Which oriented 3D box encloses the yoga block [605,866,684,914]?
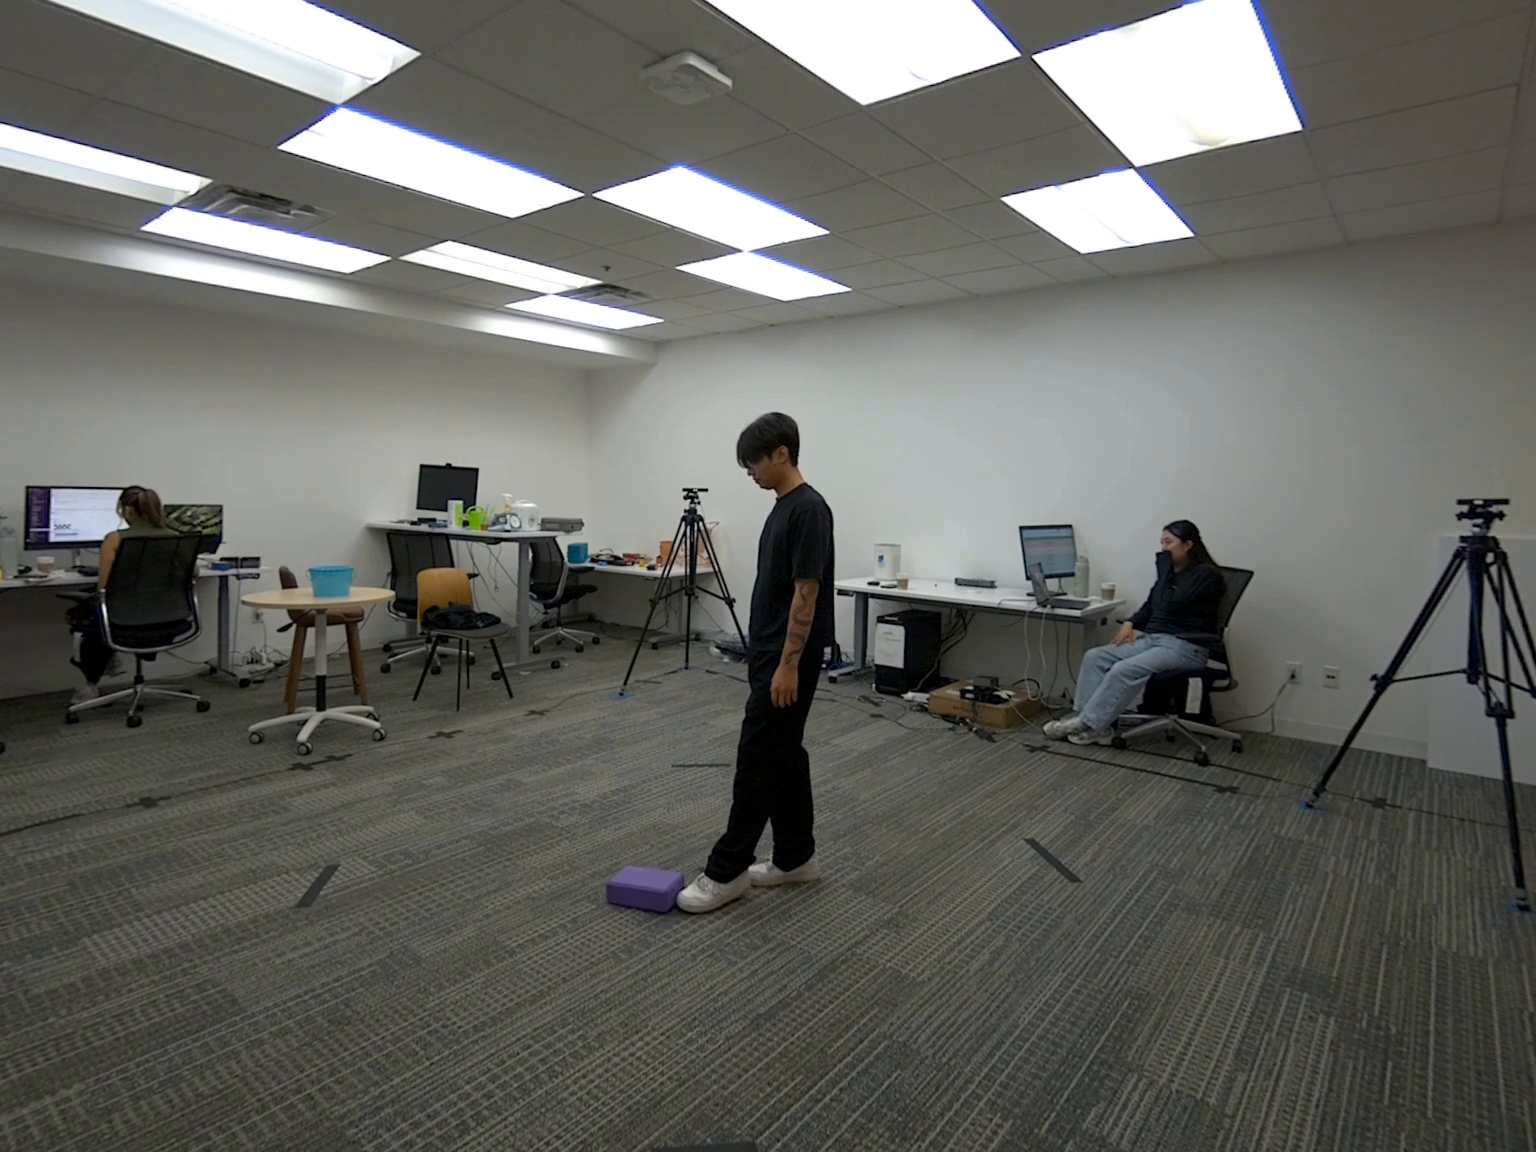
[{"bbox_3d":[-0.422,1.047,2.859,0.234,0.076,0.146,1,5,20],"label":"yoga block"}]
